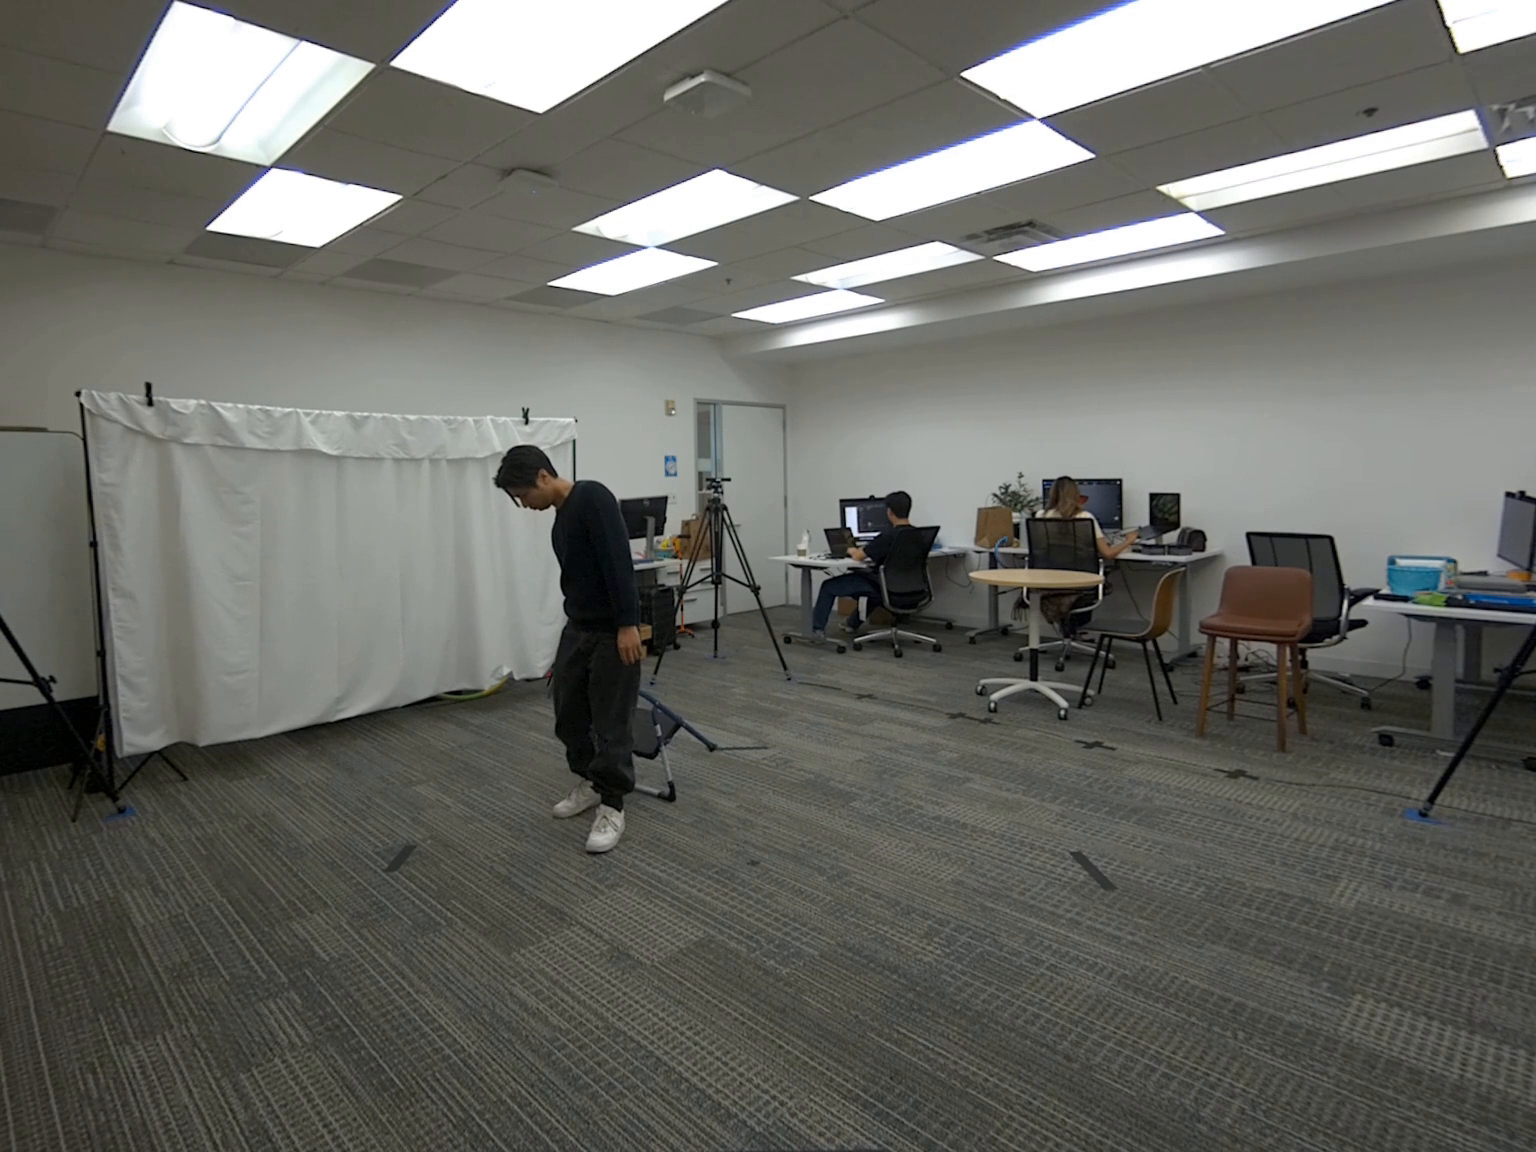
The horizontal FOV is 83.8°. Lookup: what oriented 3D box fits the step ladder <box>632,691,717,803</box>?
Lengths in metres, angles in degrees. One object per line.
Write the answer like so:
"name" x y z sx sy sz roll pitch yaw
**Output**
"step ladder" -0.582 0.634 3.823 0.443 0.589 0.349 2 36 38
